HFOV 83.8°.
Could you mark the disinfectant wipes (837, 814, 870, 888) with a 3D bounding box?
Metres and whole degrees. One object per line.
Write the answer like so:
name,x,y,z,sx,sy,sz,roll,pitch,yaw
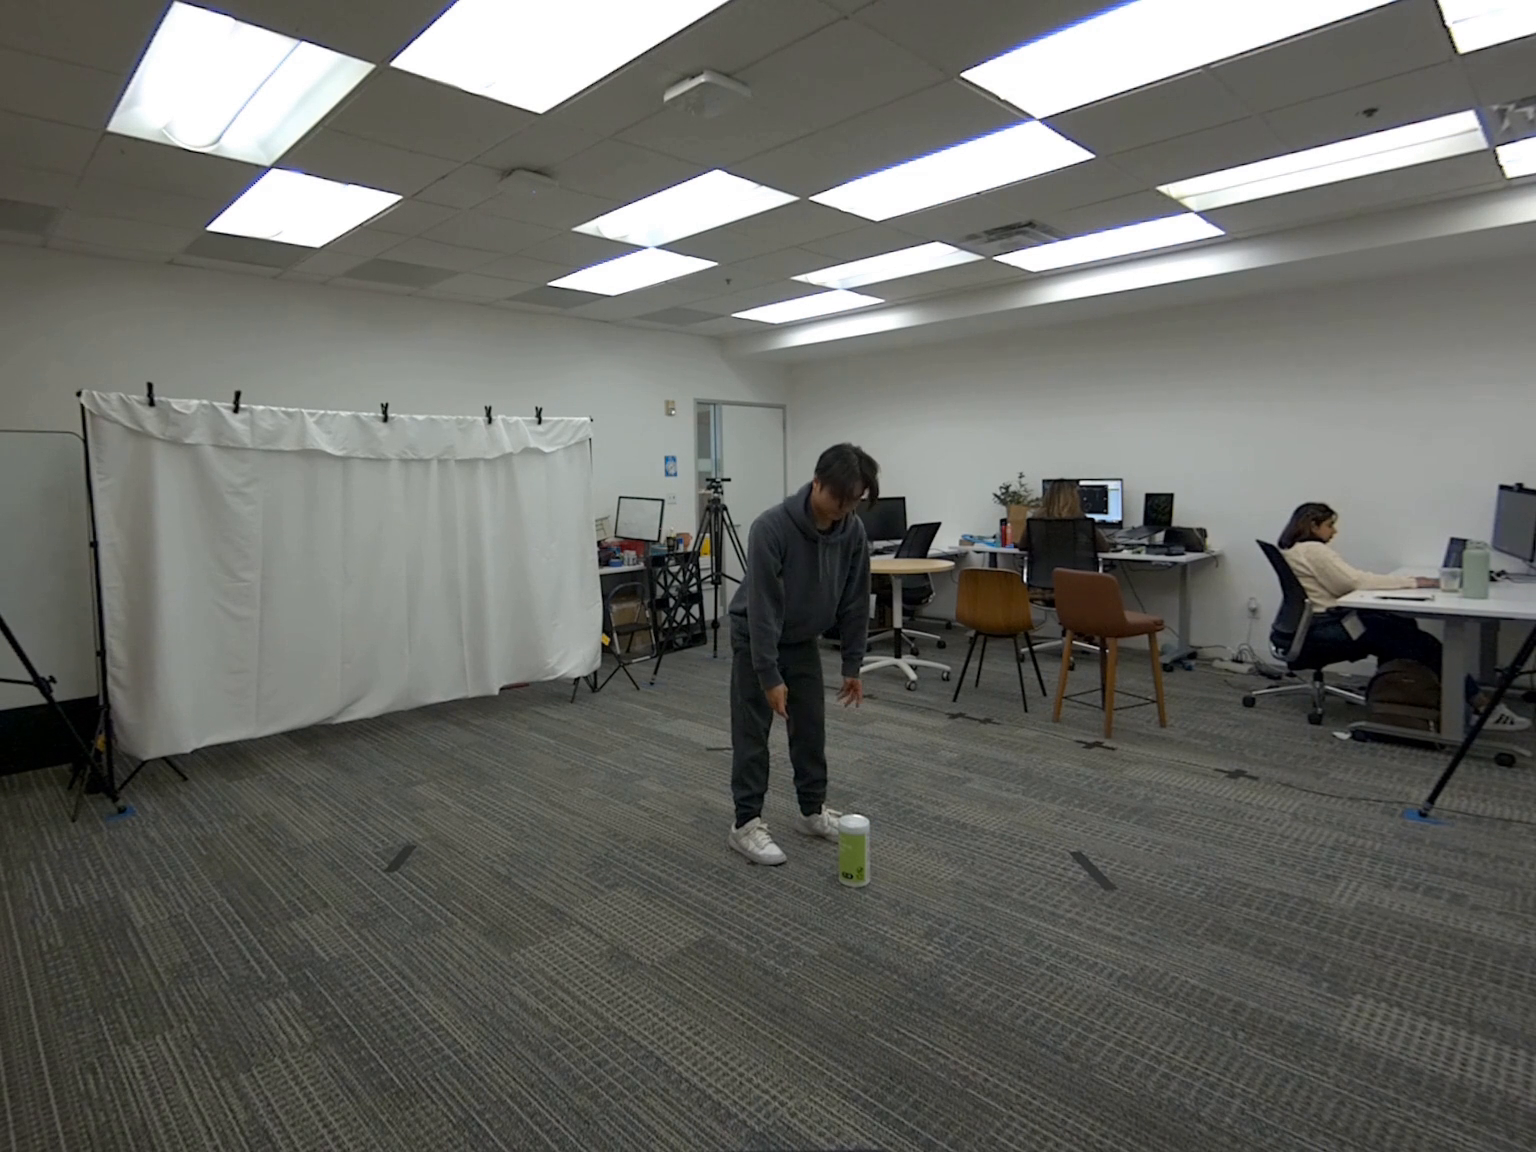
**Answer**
disinfectant wipes,0.303,0.948,2.954,0.118,0.216,0.118,-2,5,-1
